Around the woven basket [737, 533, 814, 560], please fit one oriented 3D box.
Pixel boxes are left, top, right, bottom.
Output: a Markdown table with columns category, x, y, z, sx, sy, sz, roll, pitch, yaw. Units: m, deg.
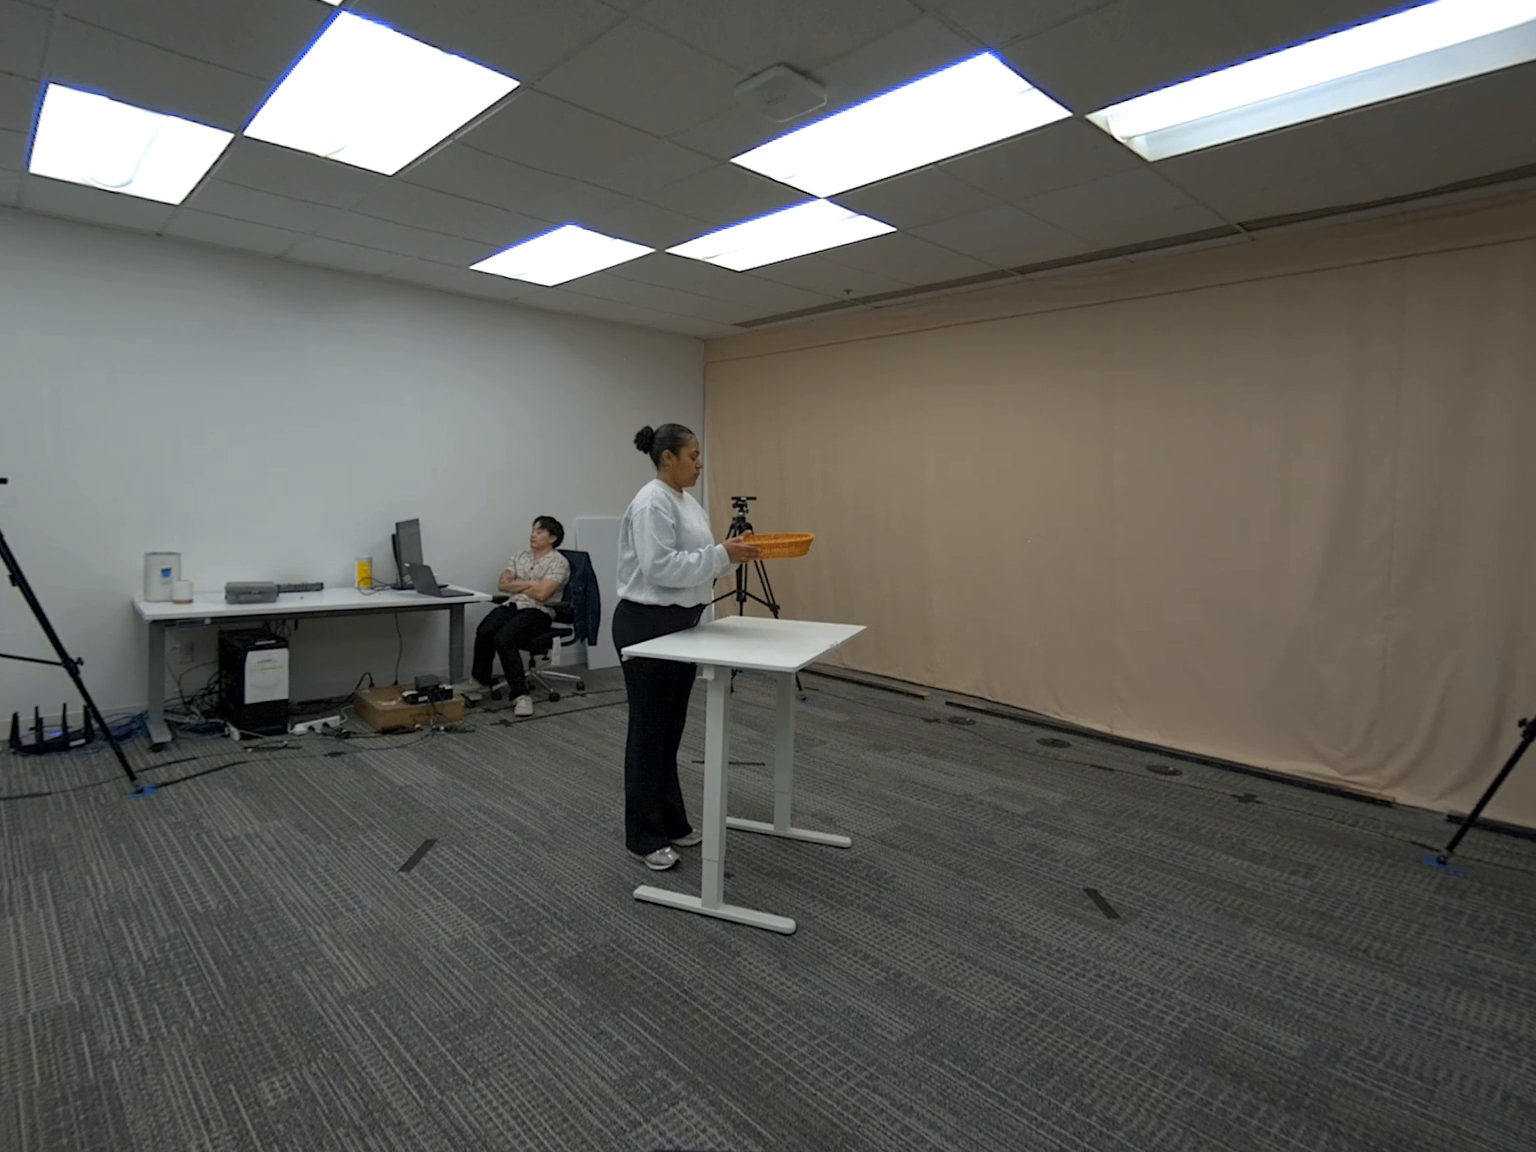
| category | x | y | z | sx | sy | sz | roll | pitch | yaw |
| --- | --- | --- | --- | --- | --- | --- | --- | --- | --- |
| woven basket | -0.021 | -0.102 | 3.226 | 0.348 | 0.073 | 0.255 | -6 | 9 | -8 |
